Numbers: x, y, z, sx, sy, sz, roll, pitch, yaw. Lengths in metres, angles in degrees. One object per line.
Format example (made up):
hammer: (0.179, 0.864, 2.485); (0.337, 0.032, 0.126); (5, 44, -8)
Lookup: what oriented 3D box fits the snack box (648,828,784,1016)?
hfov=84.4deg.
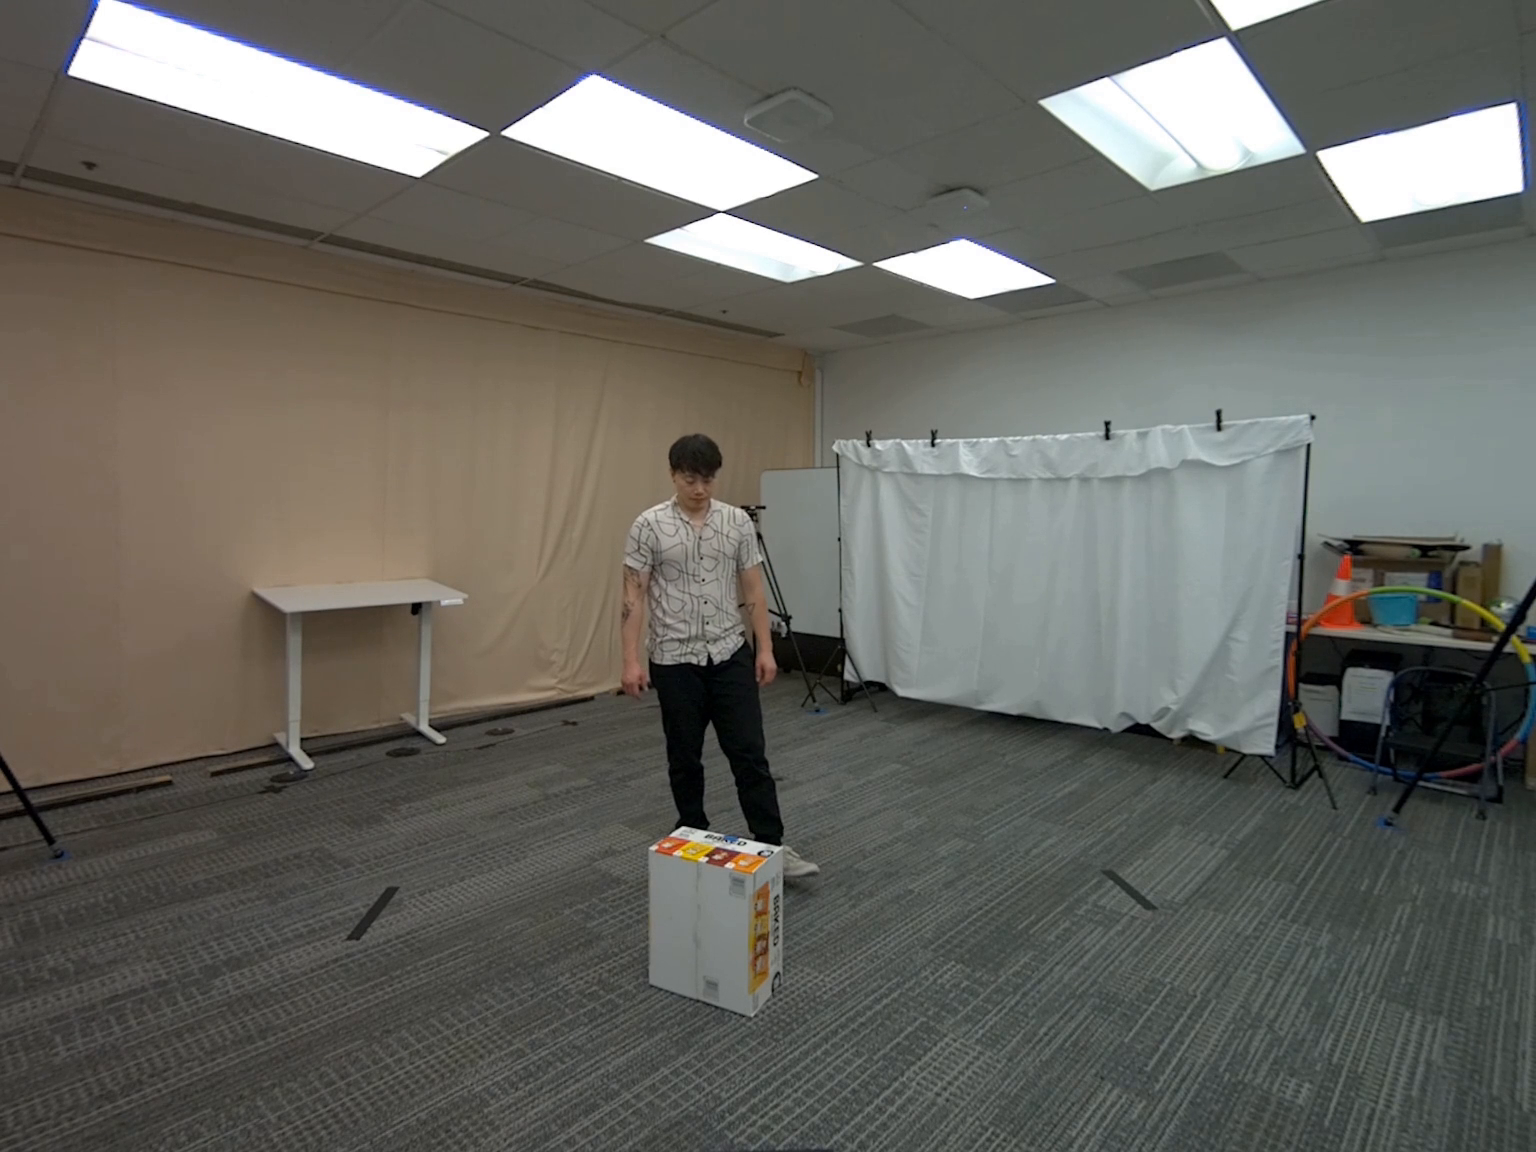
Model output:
snack box: (-0.150, 0.985, 2.439); (0.350, 0.404, 0.200); (2, 4, 27)
